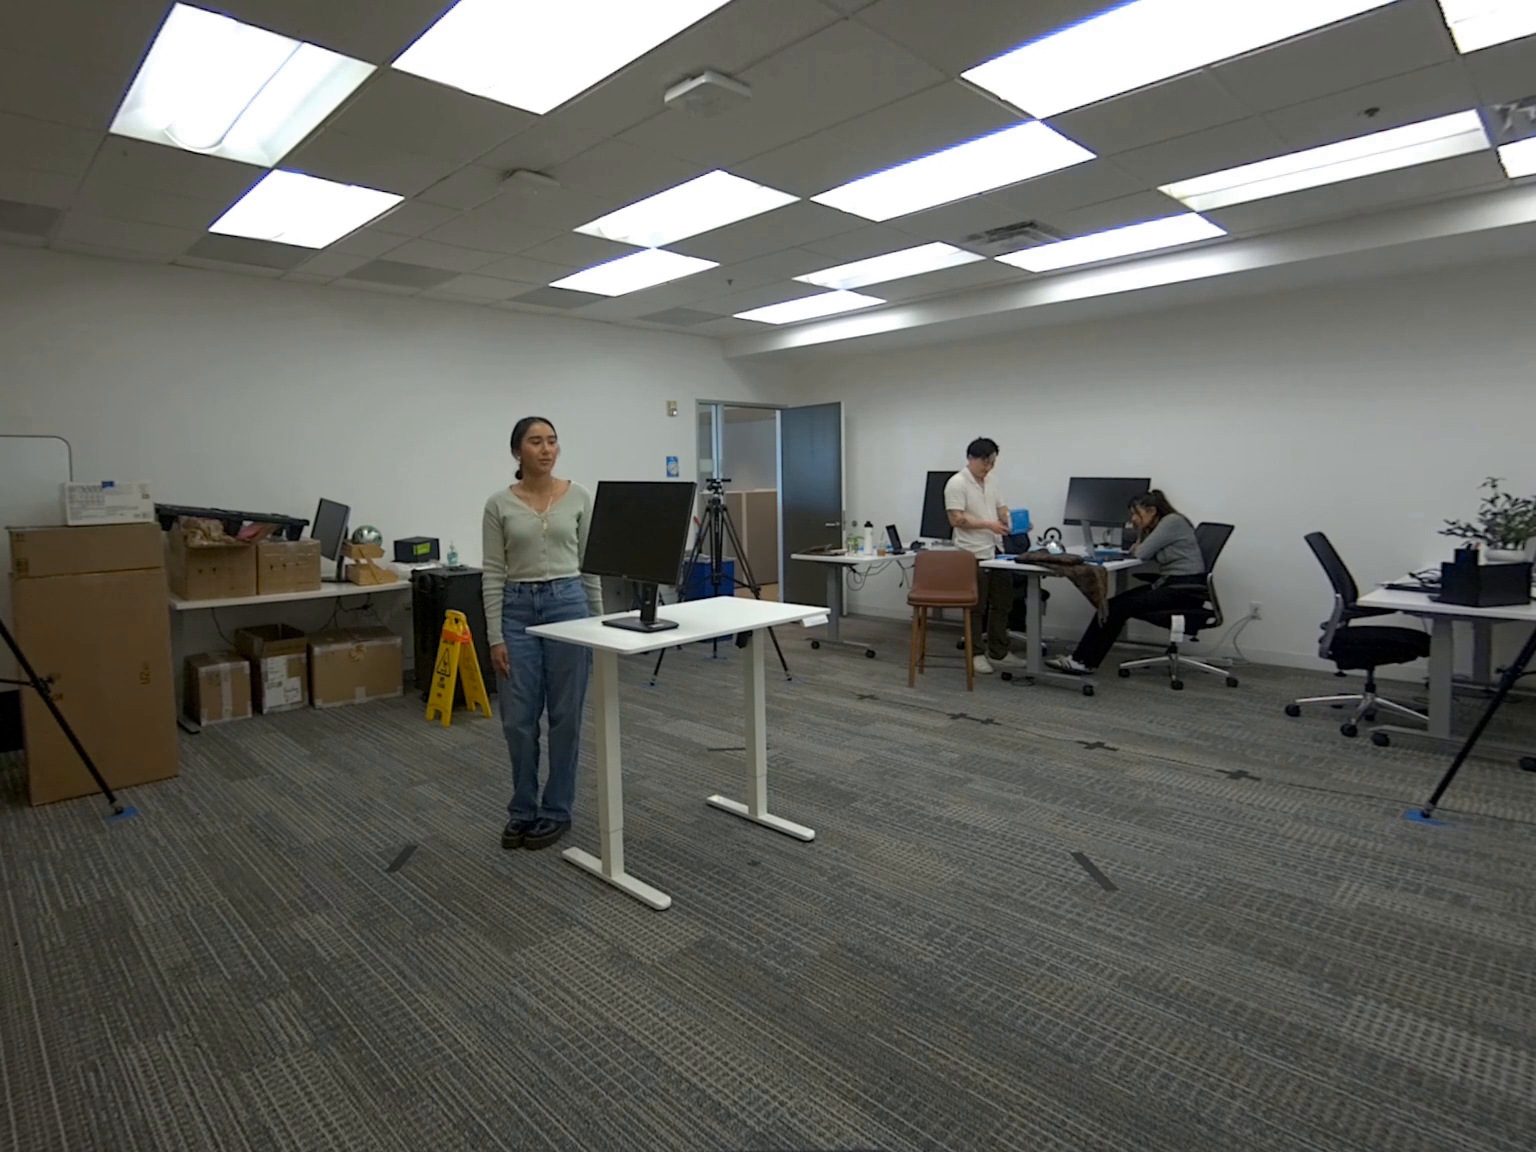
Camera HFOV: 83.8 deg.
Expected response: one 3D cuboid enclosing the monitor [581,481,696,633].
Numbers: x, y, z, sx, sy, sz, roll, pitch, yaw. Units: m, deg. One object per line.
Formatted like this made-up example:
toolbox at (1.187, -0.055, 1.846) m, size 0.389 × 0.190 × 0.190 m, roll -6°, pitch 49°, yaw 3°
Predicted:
monitor at (-0.445, -0.073, 3.031) m, size 0.556 × 0.521 × 0.182 m, roll 5°, pitch 5°, yaw 42°
